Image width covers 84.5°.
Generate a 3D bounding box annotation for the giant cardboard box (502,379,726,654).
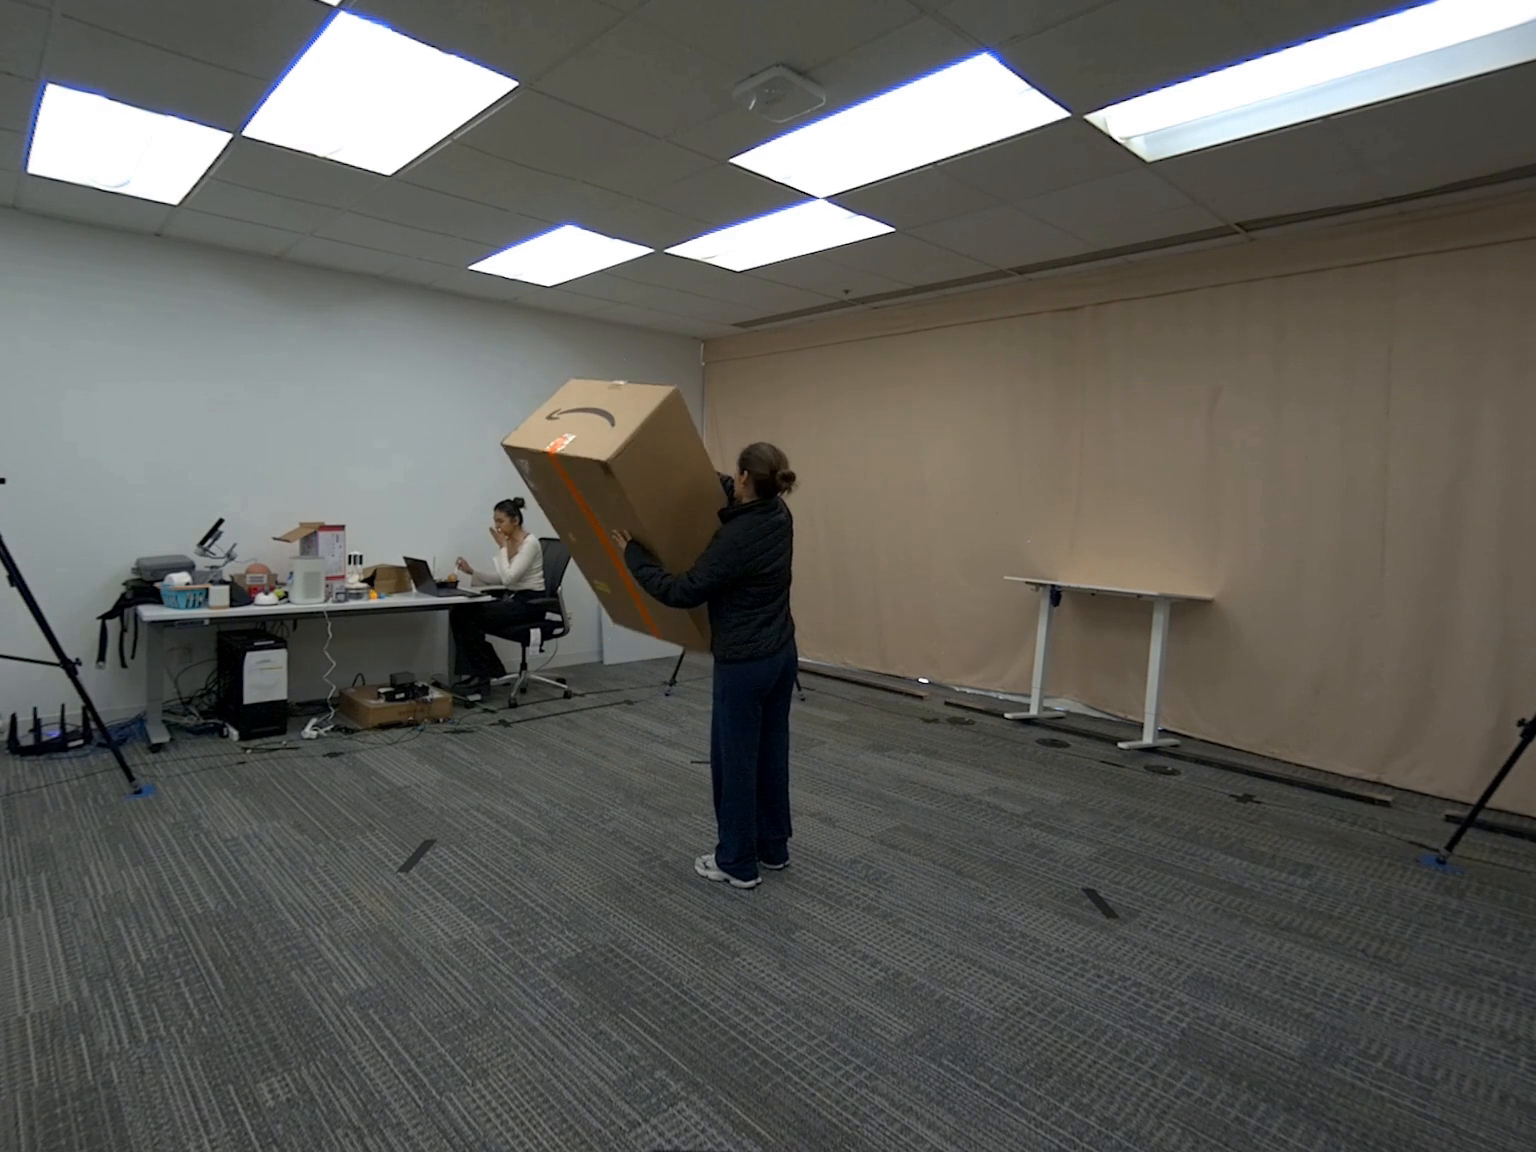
[{"bbox_3d":[-0.502,-0.211,3.331,0.593,0.996,0.427,13,52,36],"label":"giant cardboard box"}]
